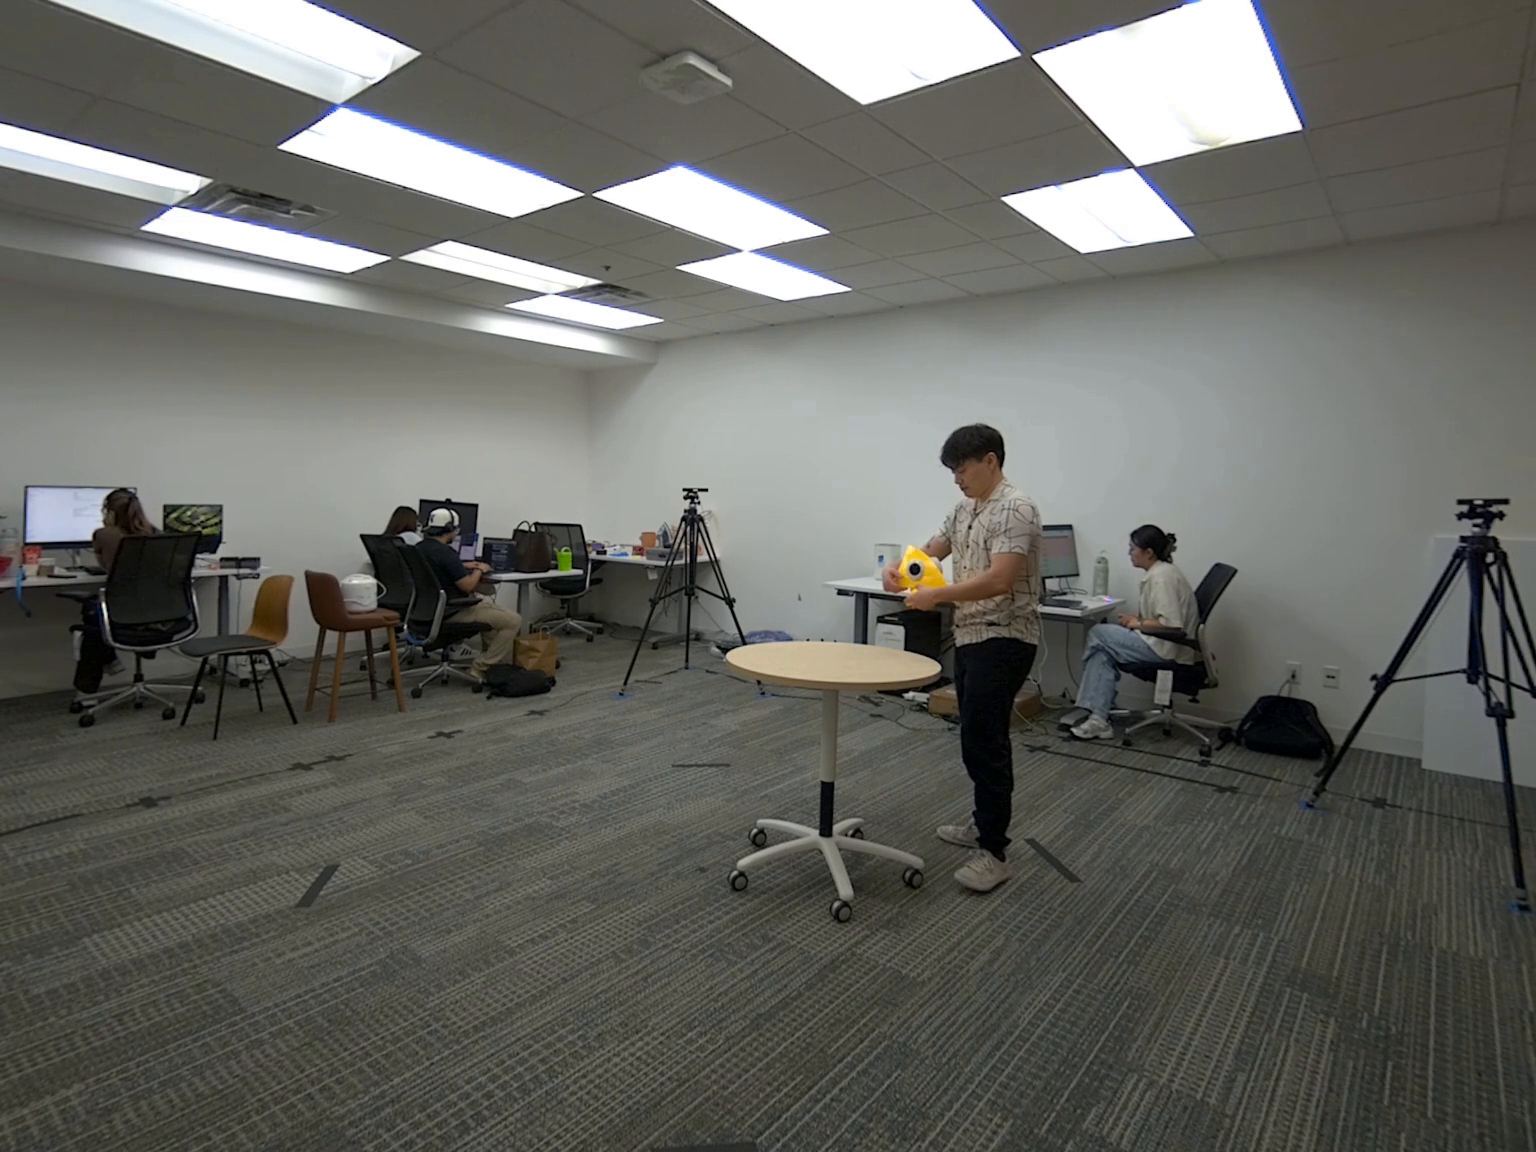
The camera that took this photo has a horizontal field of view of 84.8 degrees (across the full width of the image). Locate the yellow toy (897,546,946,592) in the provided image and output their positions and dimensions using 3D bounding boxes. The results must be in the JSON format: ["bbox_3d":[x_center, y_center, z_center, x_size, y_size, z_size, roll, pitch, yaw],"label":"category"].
[{"bbox_3d":[0.593,-0.016,3.250,0.200,0.233,0.196,-4,-7,-30],"label":"yellow toy"}]
